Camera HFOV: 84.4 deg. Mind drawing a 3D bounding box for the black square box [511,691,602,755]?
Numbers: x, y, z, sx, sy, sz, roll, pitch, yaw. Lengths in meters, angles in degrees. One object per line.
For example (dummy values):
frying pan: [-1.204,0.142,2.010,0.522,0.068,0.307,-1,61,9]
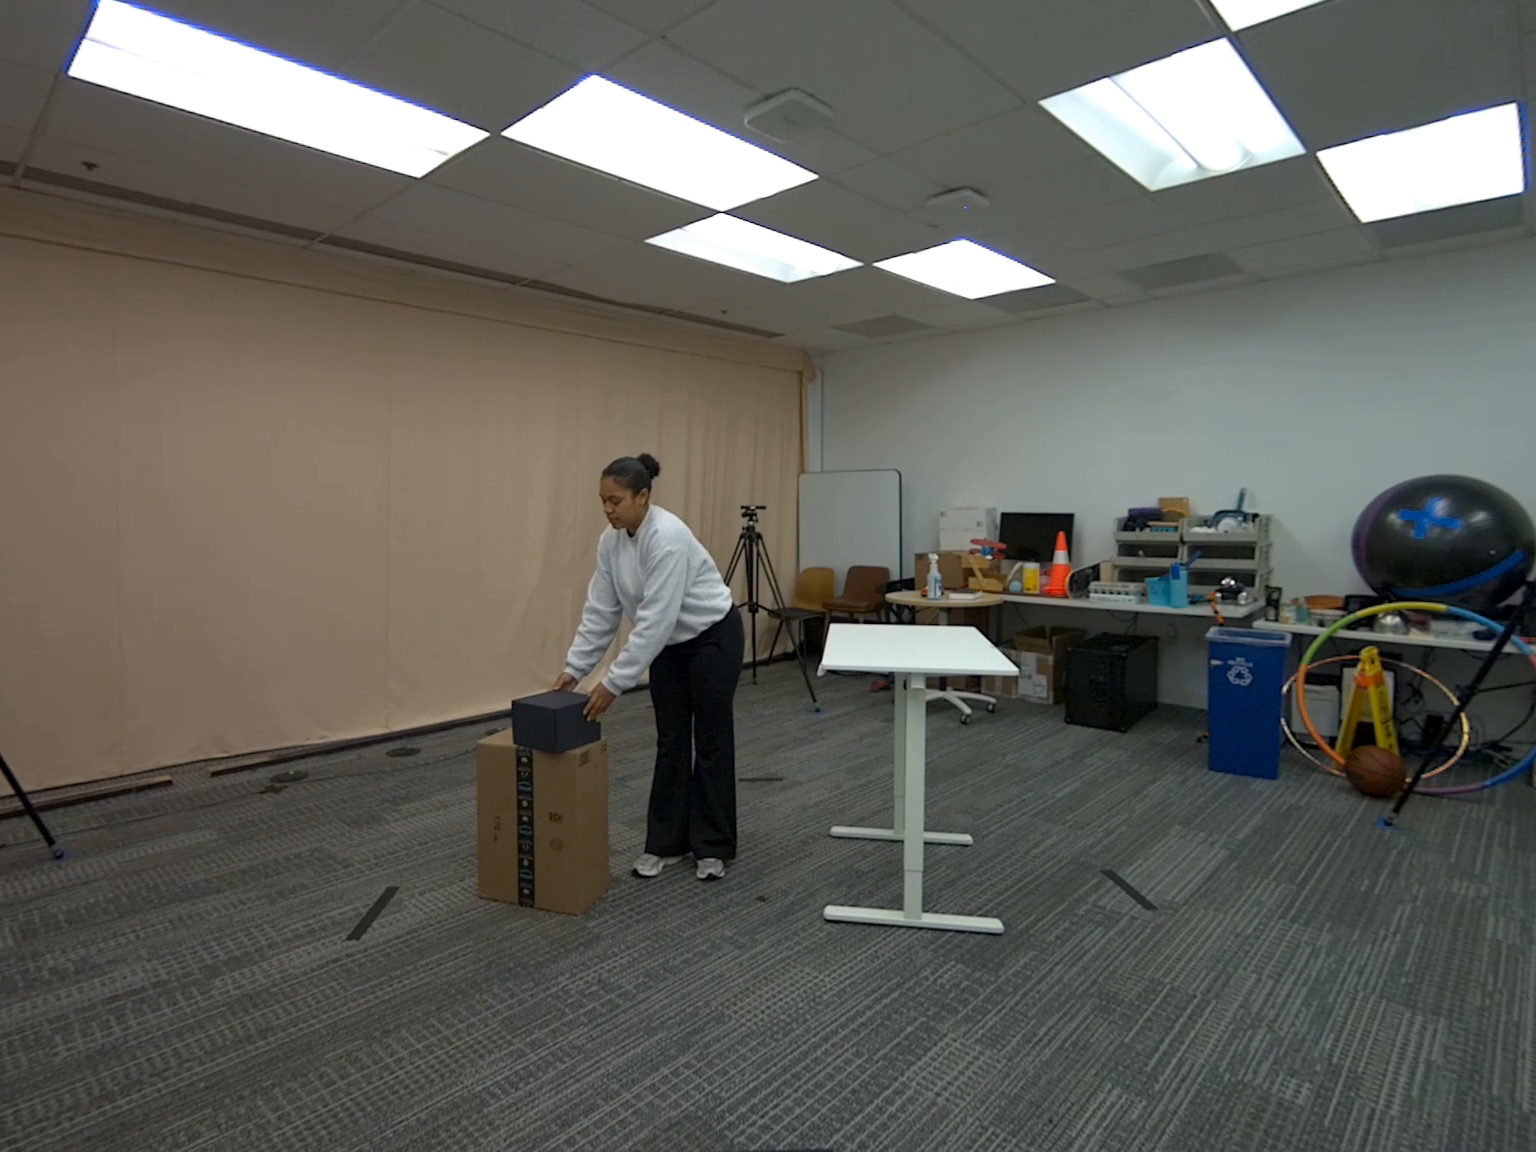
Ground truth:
black square box: [-0.742,0.507,2.967,0.235,0.155,0.211,3,5,35]
